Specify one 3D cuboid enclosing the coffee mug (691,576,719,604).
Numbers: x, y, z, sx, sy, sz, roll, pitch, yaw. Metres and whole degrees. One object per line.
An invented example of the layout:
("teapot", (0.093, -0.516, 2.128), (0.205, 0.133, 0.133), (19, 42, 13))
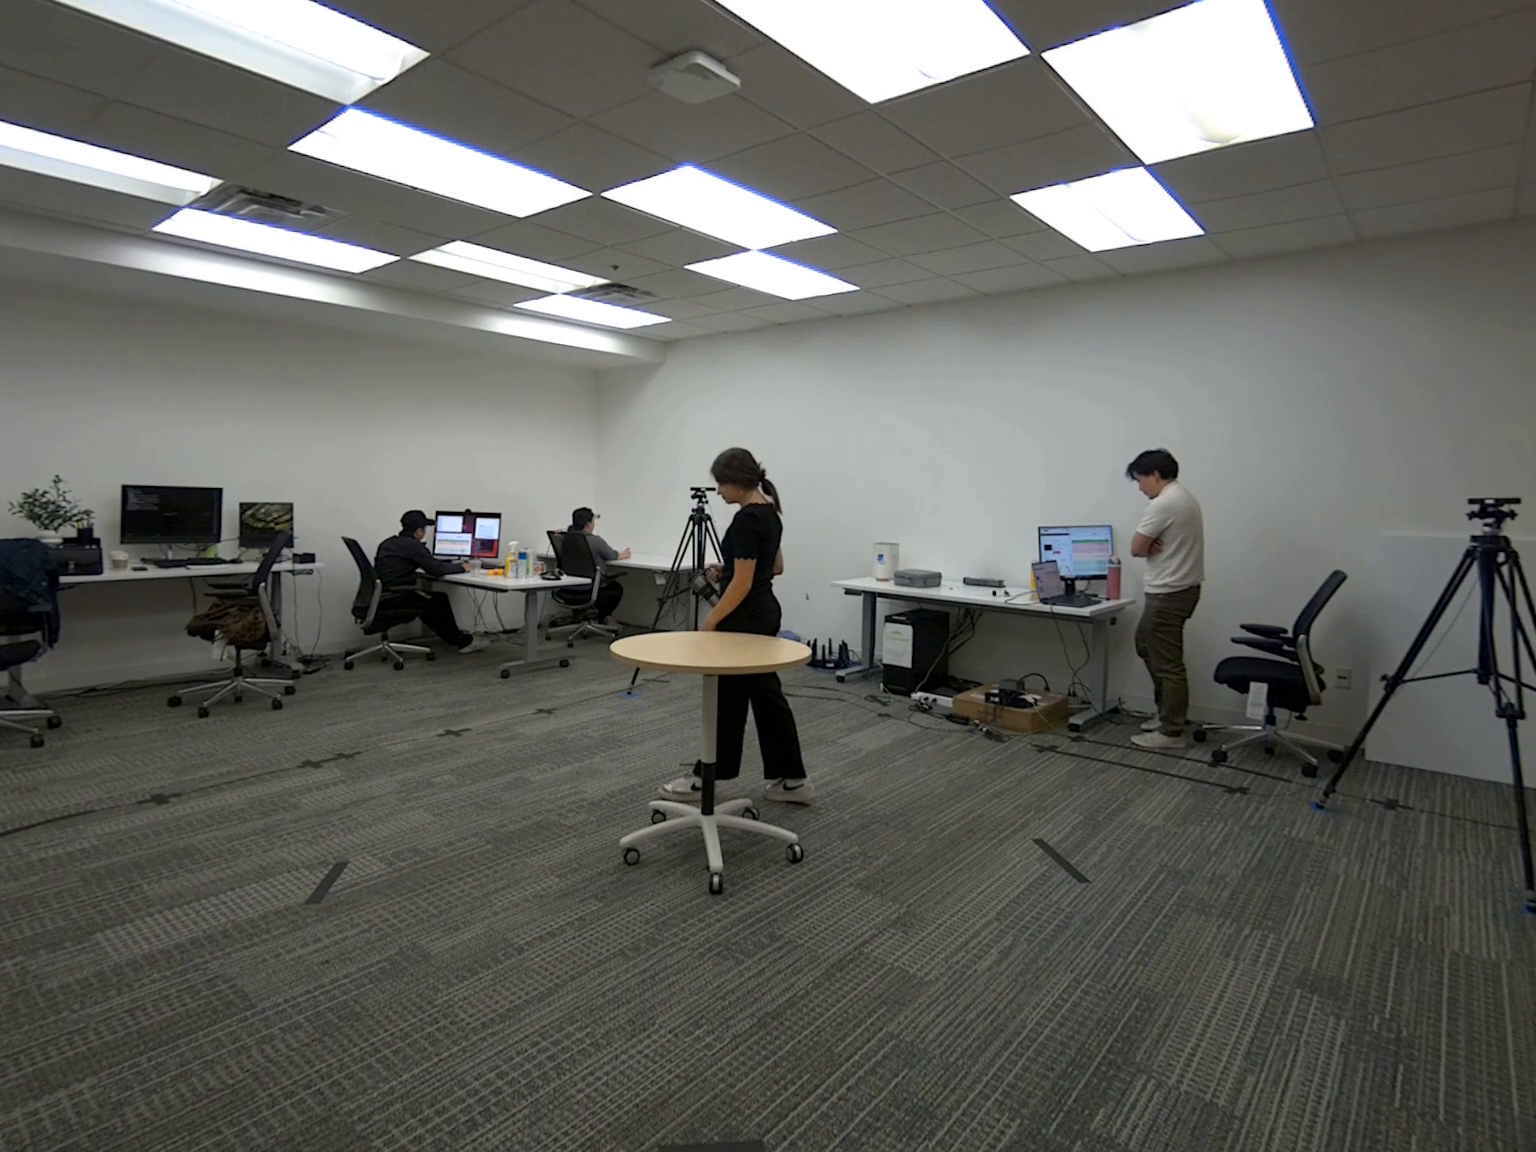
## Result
("coffee mug", (-0.280, 0.063, 3.916), (0.086, 0.206, 0.122), (-28, -17, -51))
